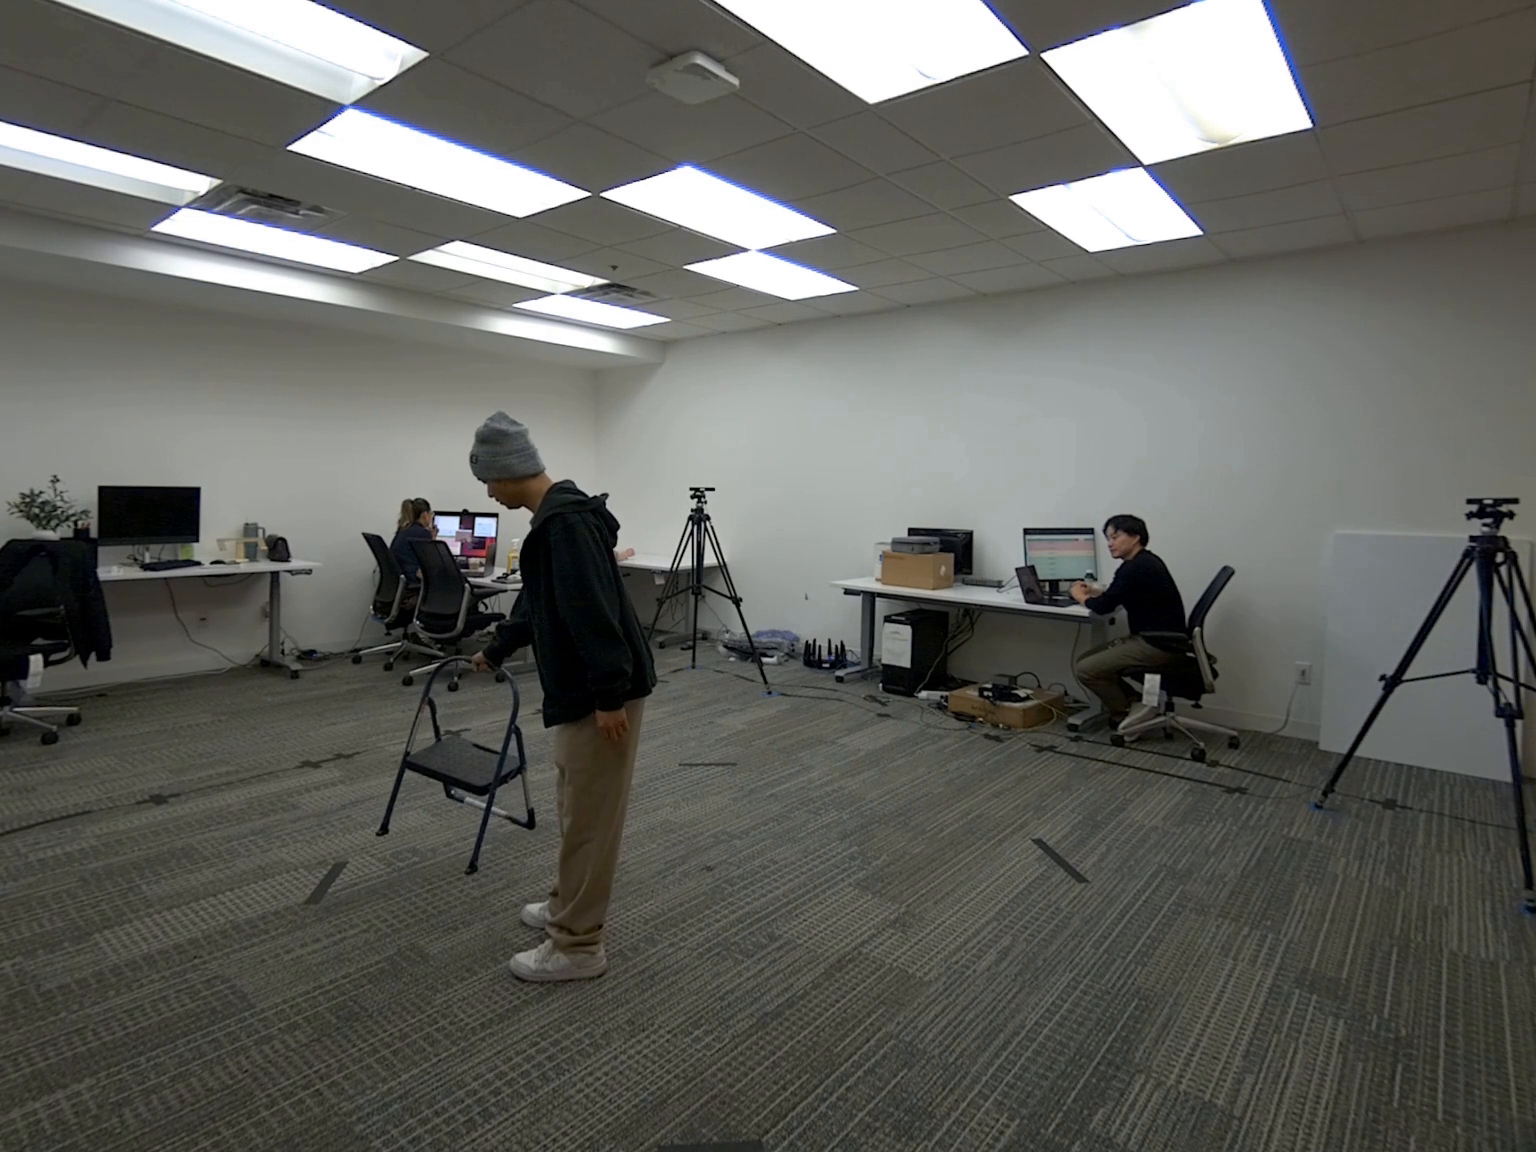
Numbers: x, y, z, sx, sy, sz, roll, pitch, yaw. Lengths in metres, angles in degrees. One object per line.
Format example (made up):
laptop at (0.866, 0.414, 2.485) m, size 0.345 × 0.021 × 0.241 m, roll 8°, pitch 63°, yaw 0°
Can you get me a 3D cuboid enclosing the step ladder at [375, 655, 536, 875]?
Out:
step ladder at (-1.066, 0.604, 2.928) m, size 0.442 × 0.600 × 0.343 m, roll 12°, pitch 13°, yaw 23°
